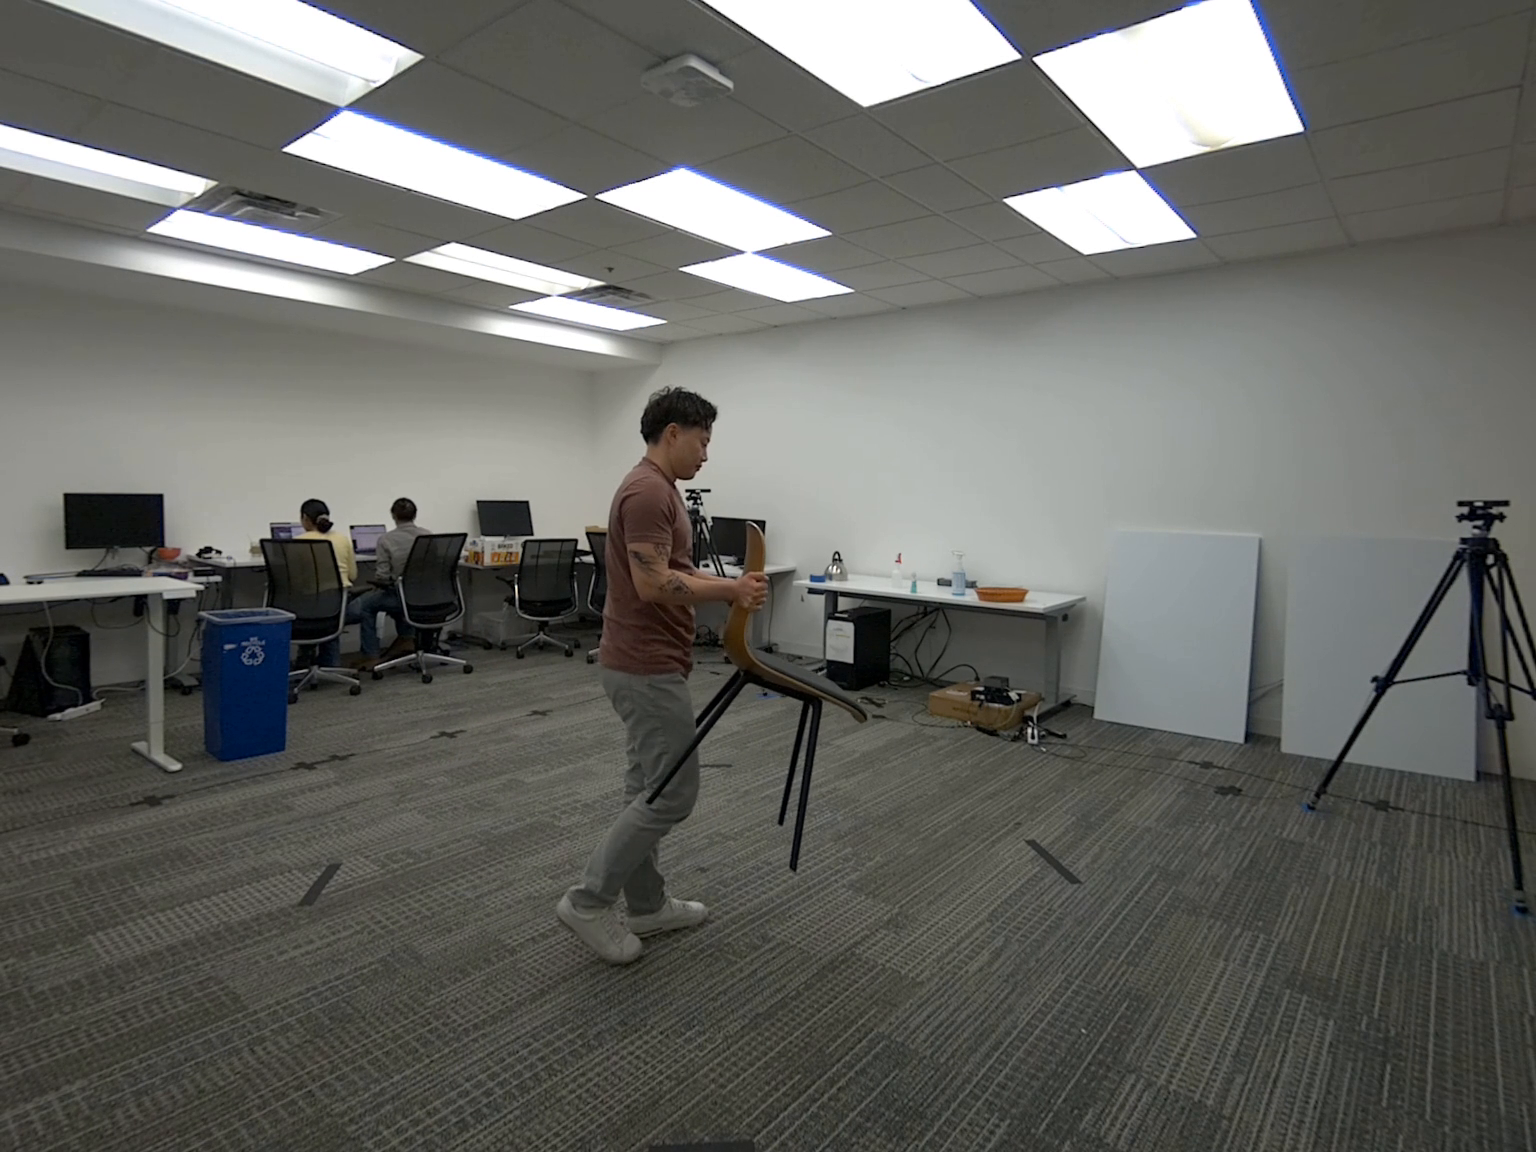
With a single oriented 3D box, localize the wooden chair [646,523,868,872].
[{"bbox_3d":[0.027,0.337,2.580,0.523,0.879,0.478,19,-3,-2],"label":"wooden chair"}]
